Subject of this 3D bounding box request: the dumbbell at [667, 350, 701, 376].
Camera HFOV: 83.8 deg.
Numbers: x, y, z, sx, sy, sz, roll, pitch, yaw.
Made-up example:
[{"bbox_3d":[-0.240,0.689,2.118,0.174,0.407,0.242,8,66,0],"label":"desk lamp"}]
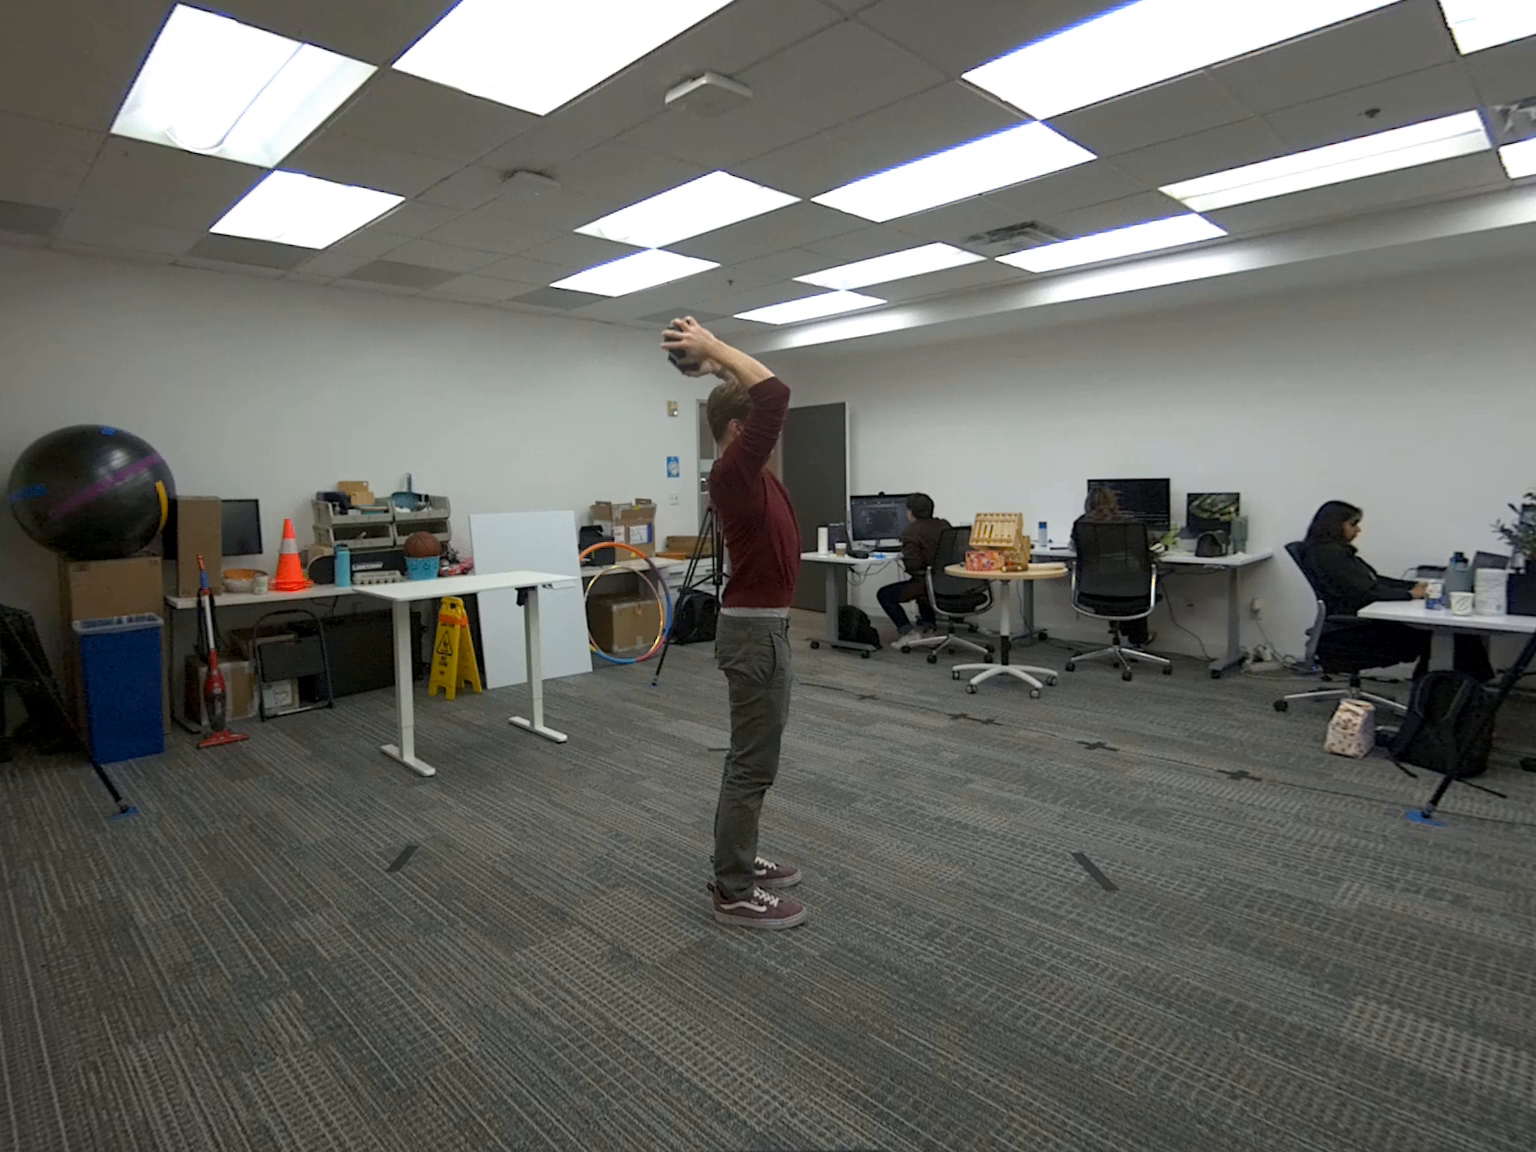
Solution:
[{"bbox_3d":[-0.255,-0.735,2.758,0.123,0.108,0.294,-14,4,1],"label":"dumbbell"}]
